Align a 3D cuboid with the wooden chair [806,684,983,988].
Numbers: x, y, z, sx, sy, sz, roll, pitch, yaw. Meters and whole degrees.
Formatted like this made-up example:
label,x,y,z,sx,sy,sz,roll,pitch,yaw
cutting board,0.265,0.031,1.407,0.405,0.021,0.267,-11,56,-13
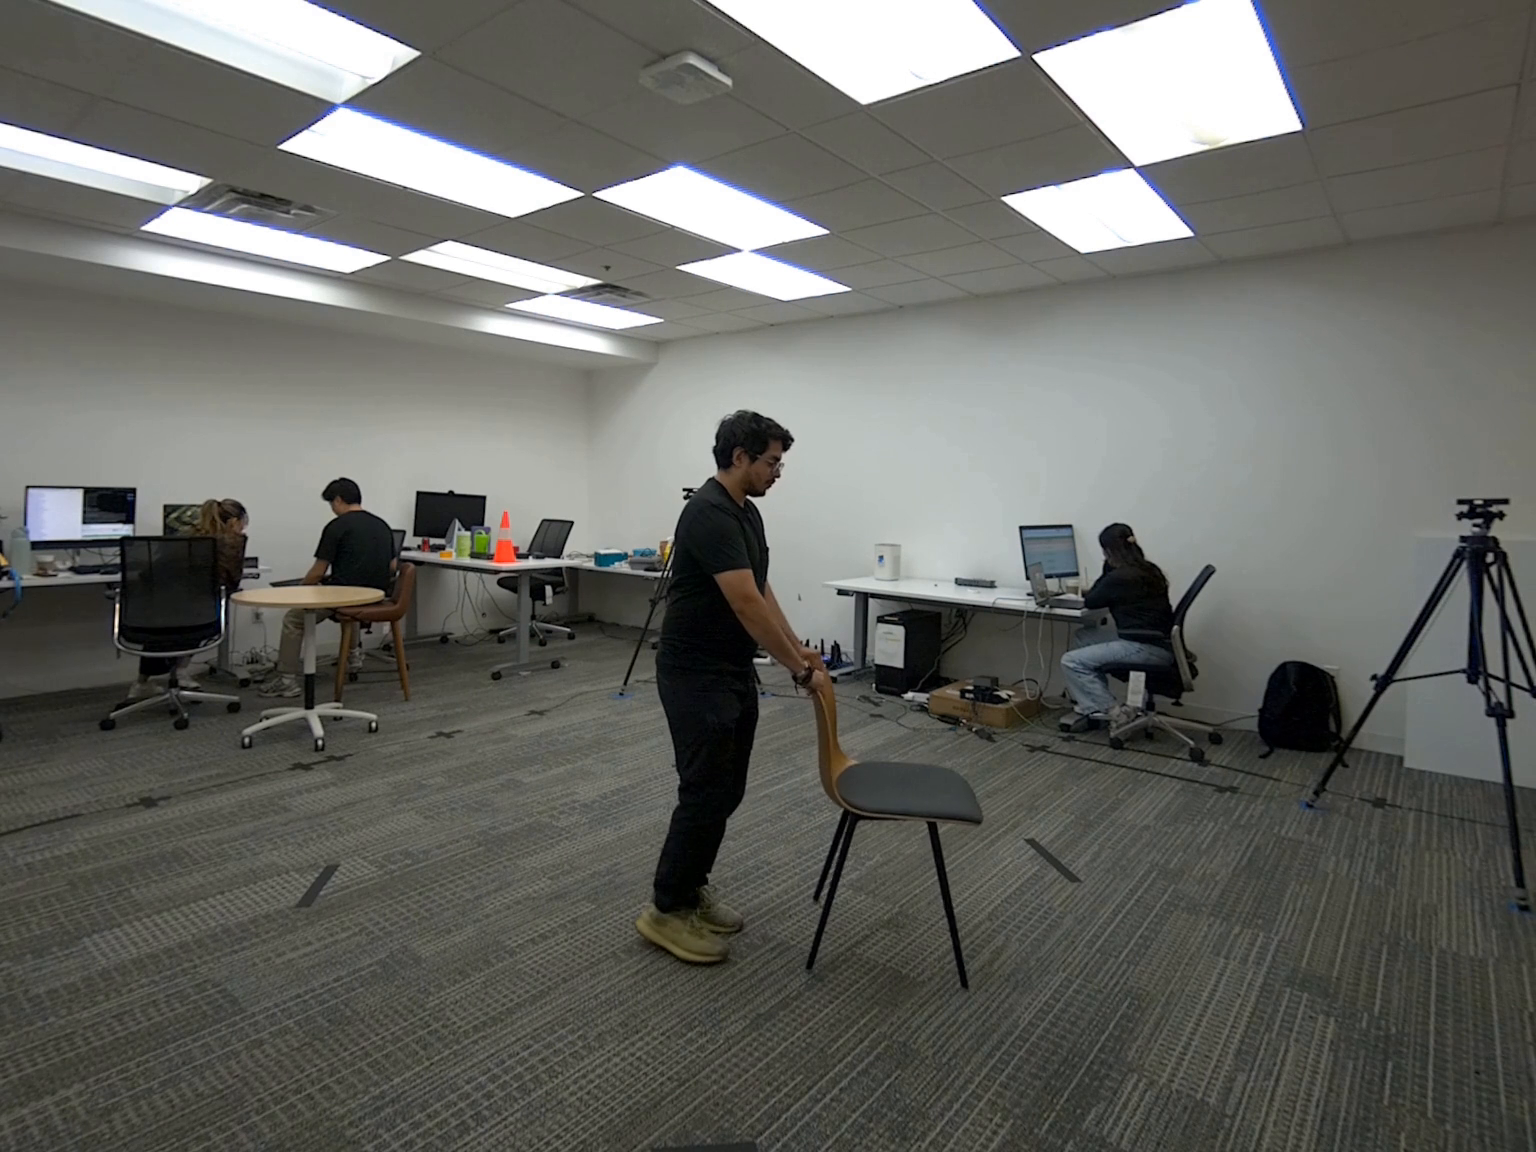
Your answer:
label,x,y,z,sx,sy,sz,roll,pitch,yaw
wooden chair,0.374,0.704,2.622,0.528,0.877,0.475,-2,1,7
